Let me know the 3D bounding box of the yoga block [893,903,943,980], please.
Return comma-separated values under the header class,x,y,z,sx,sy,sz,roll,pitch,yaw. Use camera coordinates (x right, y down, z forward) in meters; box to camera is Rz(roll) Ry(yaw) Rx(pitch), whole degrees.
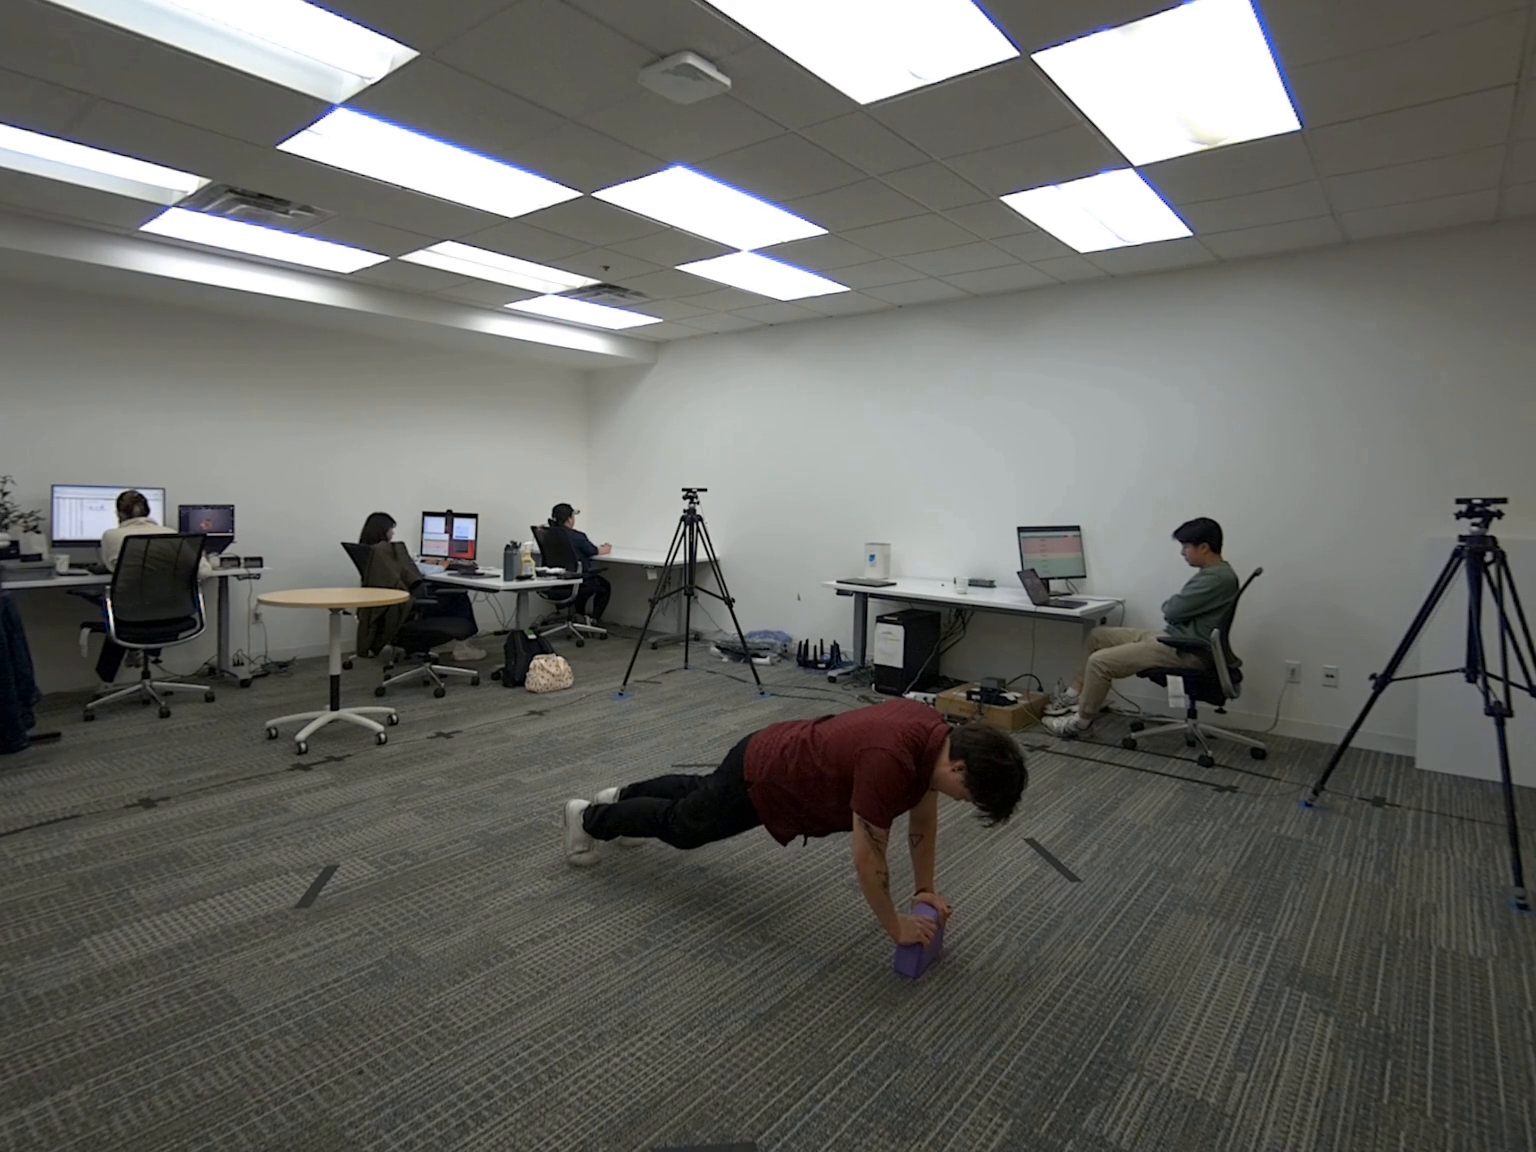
class,x,y,z,sx,sy,sz,roll,pitch,yaw
yoga block,0.453,1.071,2.541,0.079,0.148,0.223,9,7,29
